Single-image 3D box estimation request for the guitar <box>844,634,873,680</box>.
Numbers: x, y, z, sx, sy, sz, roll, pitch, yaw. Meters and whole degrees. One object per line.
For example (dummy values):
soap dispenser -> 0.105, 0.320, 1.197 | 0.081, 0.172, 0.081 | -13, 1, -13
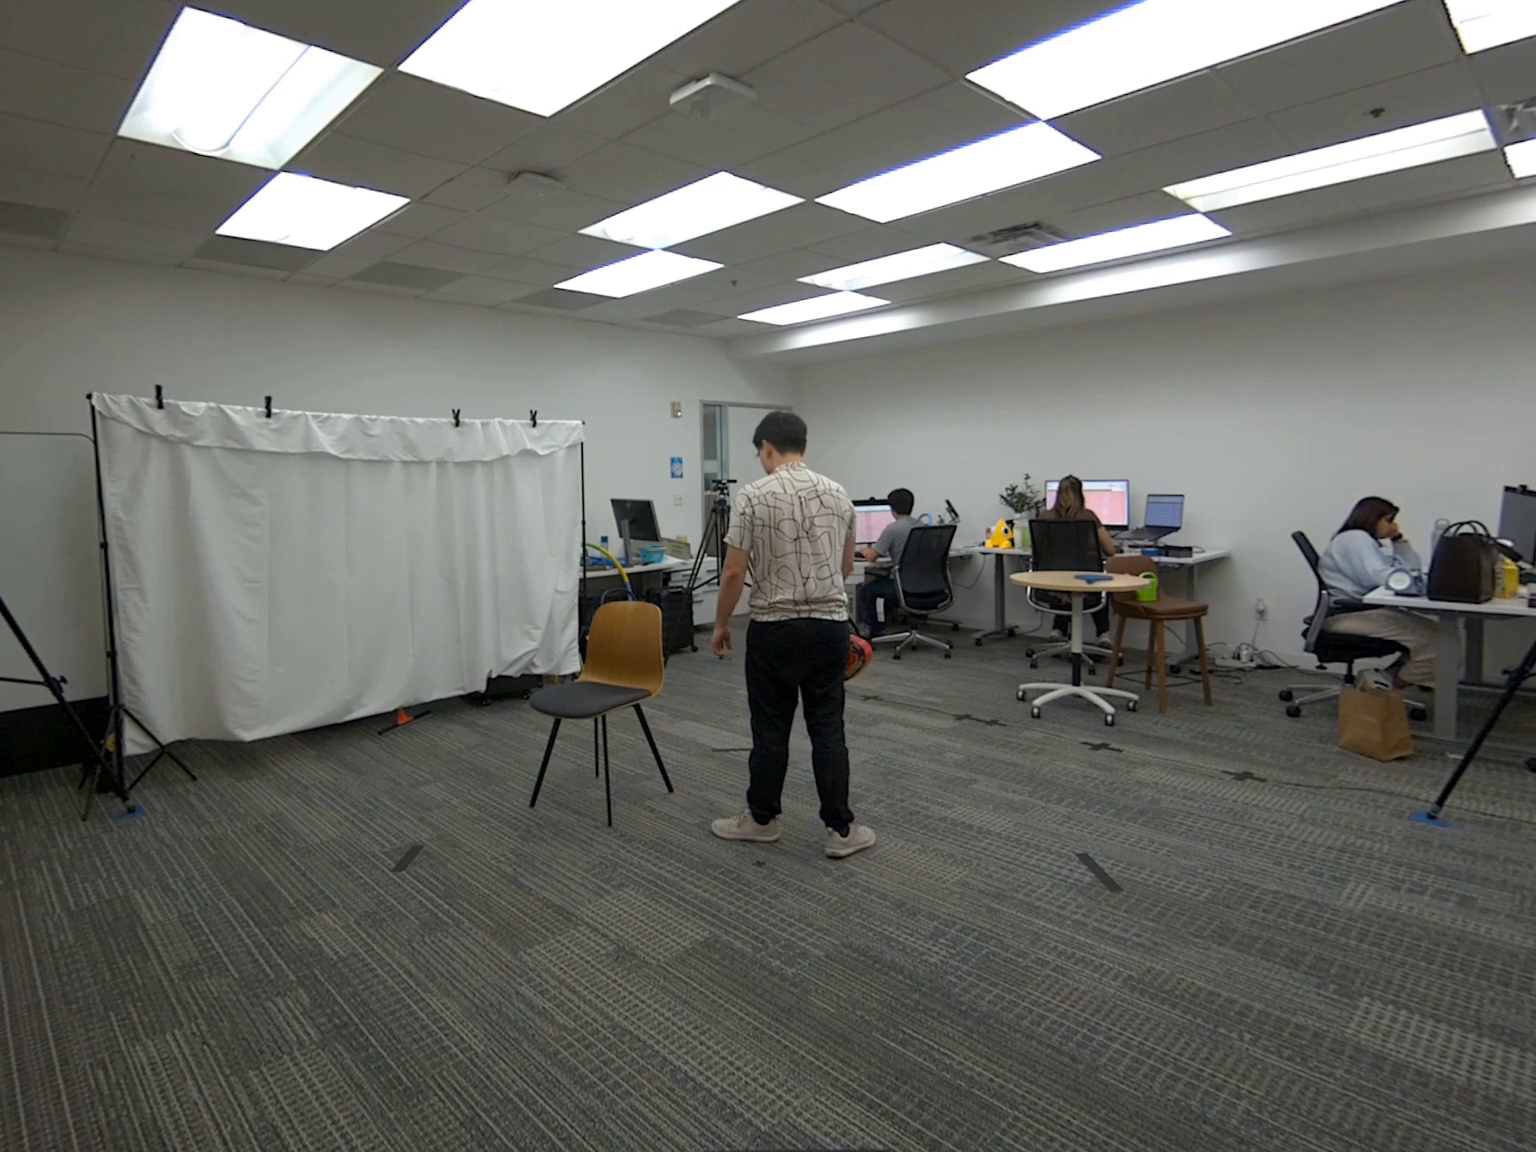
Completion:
guitar -> 0.235, 0.196, 3.527 | 0.193, 0.508, 0.069 | -42, -17, 28
